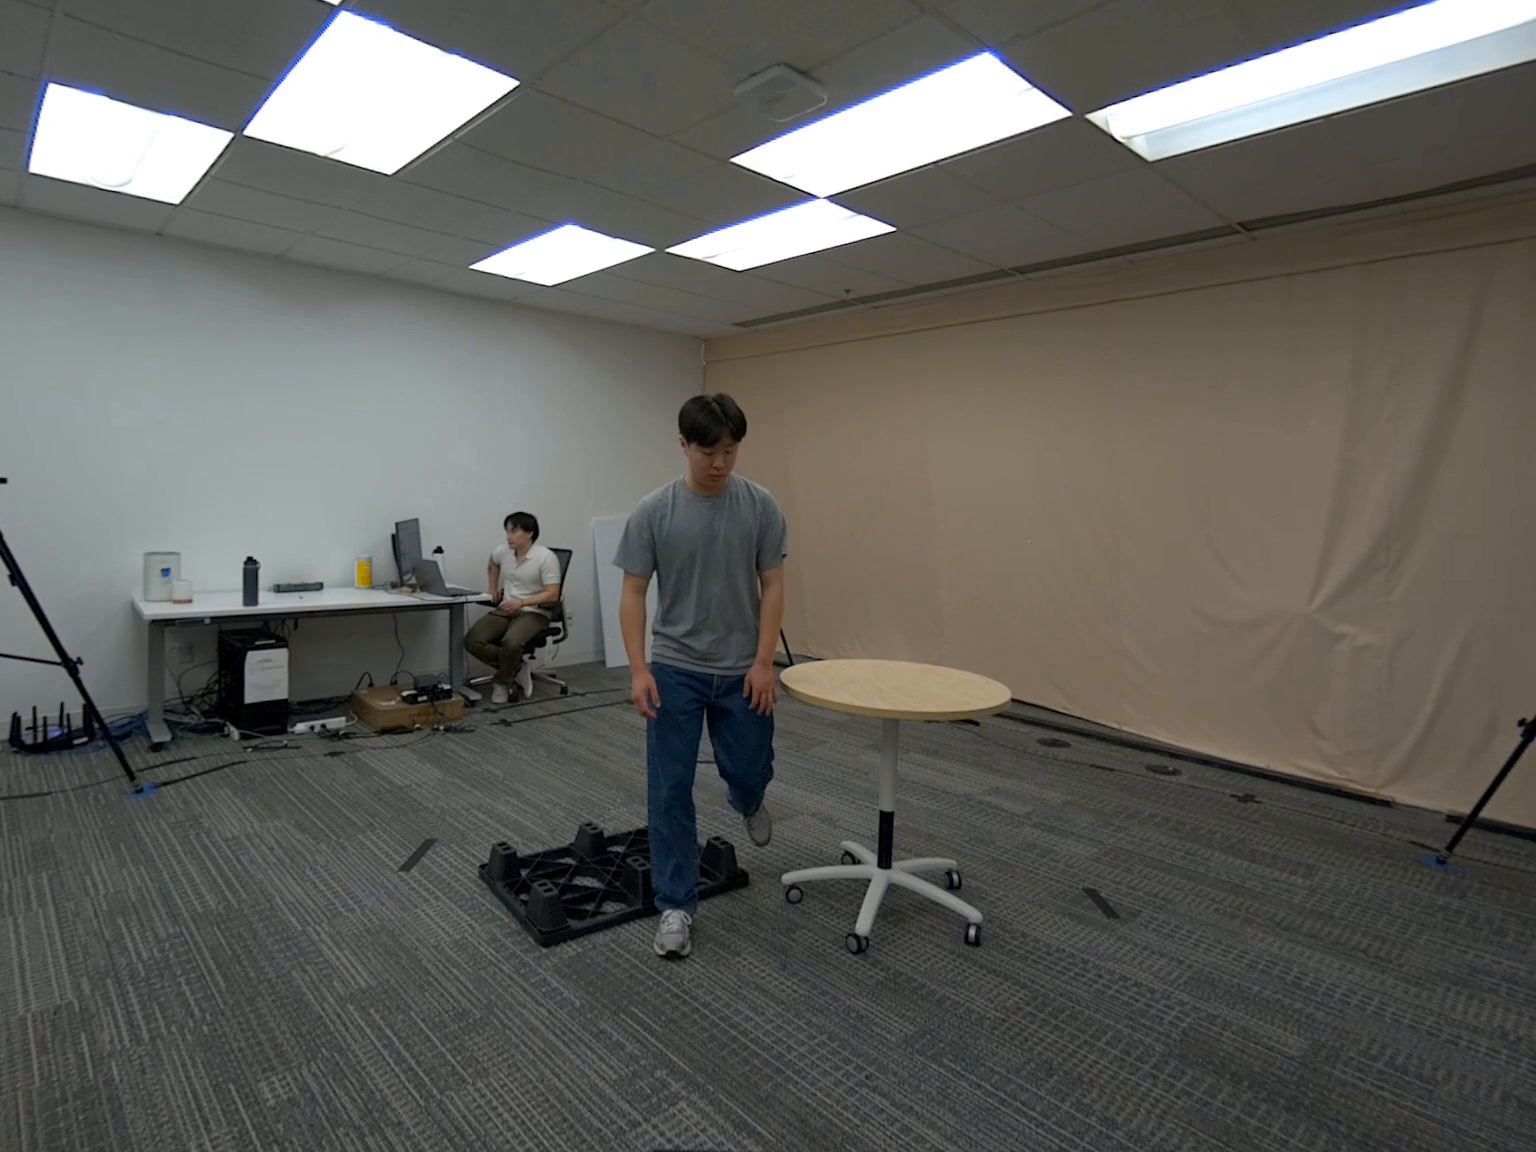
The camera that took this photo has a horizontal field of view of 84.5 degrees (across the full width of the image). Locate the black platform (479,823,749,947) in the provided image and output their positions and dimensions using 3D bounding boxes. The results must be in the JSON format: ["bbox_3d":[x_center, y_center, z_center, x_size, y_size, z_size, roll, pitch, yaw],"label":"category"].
[{"bbox_3d":[-0.563,1.038,3.038,0.788,0.143,0.620,-3,6,-36],"label":"black platform"}]
